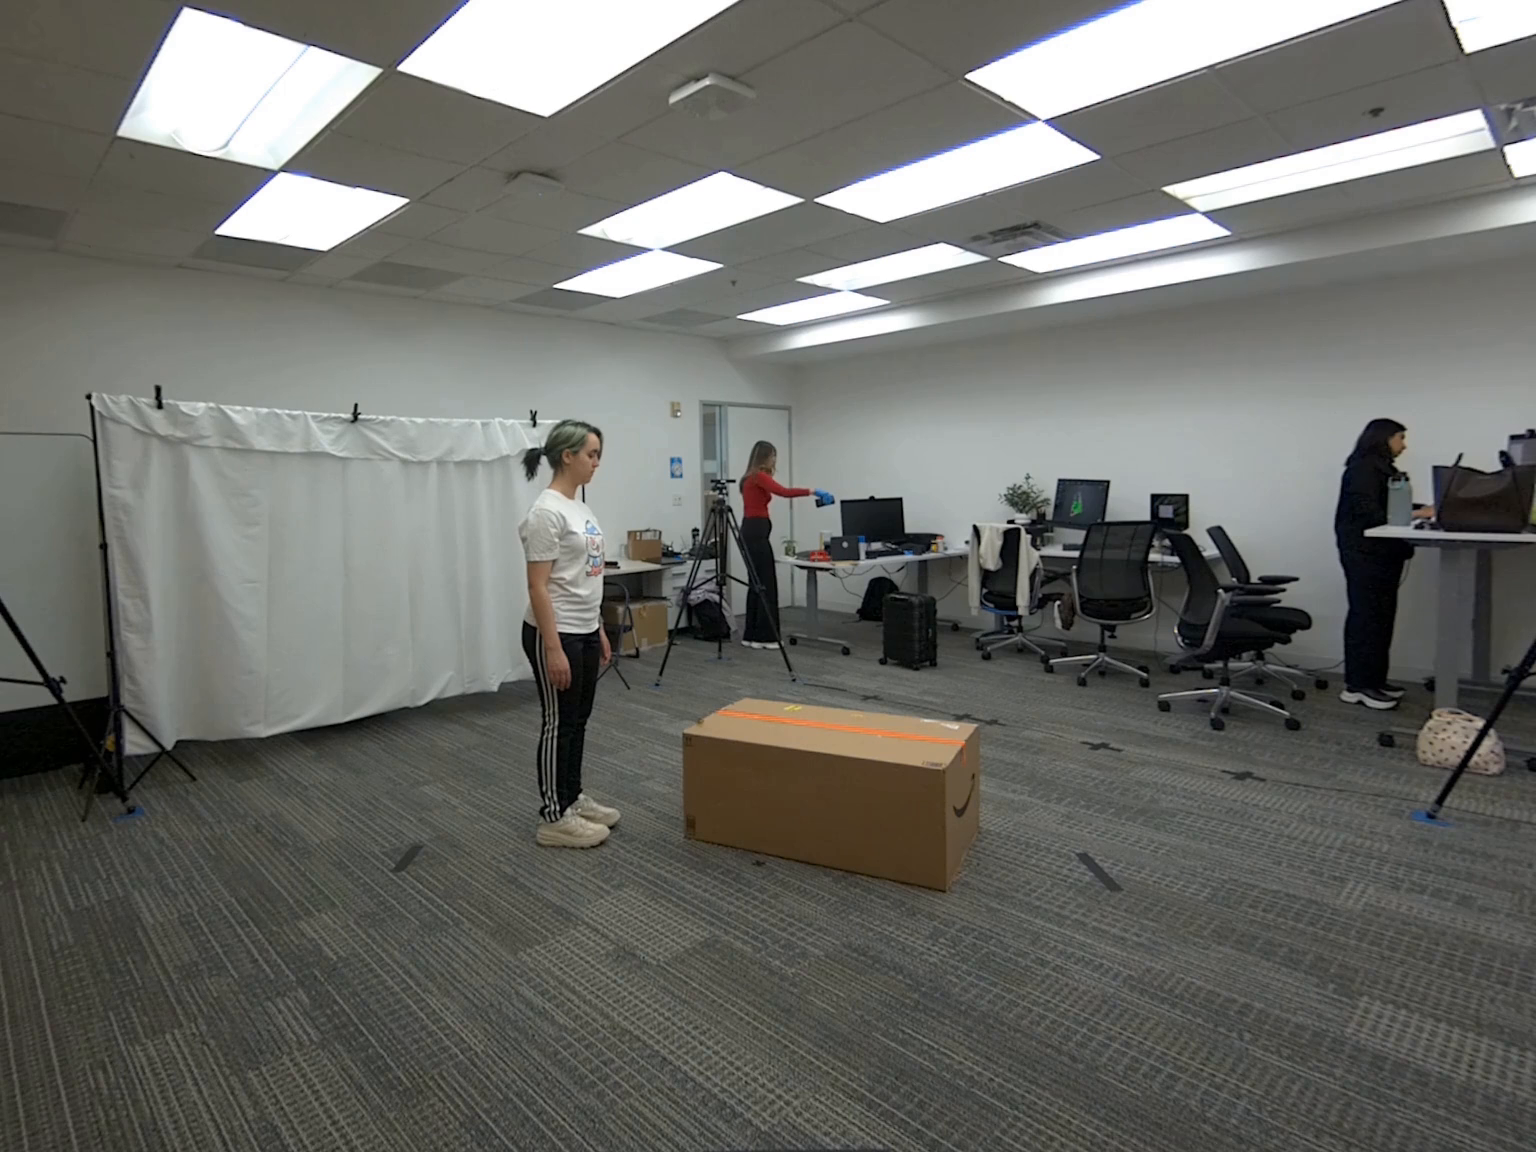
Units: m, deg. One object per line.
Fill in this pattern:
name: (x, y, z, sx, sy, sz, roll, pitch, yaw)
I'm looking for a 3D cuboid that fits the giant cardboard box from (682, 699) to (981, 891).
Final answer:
giant cardboard box: (0.247, 0.799, 3.339, 1.051, 0.425, 0.566, 2, 6, 27)
